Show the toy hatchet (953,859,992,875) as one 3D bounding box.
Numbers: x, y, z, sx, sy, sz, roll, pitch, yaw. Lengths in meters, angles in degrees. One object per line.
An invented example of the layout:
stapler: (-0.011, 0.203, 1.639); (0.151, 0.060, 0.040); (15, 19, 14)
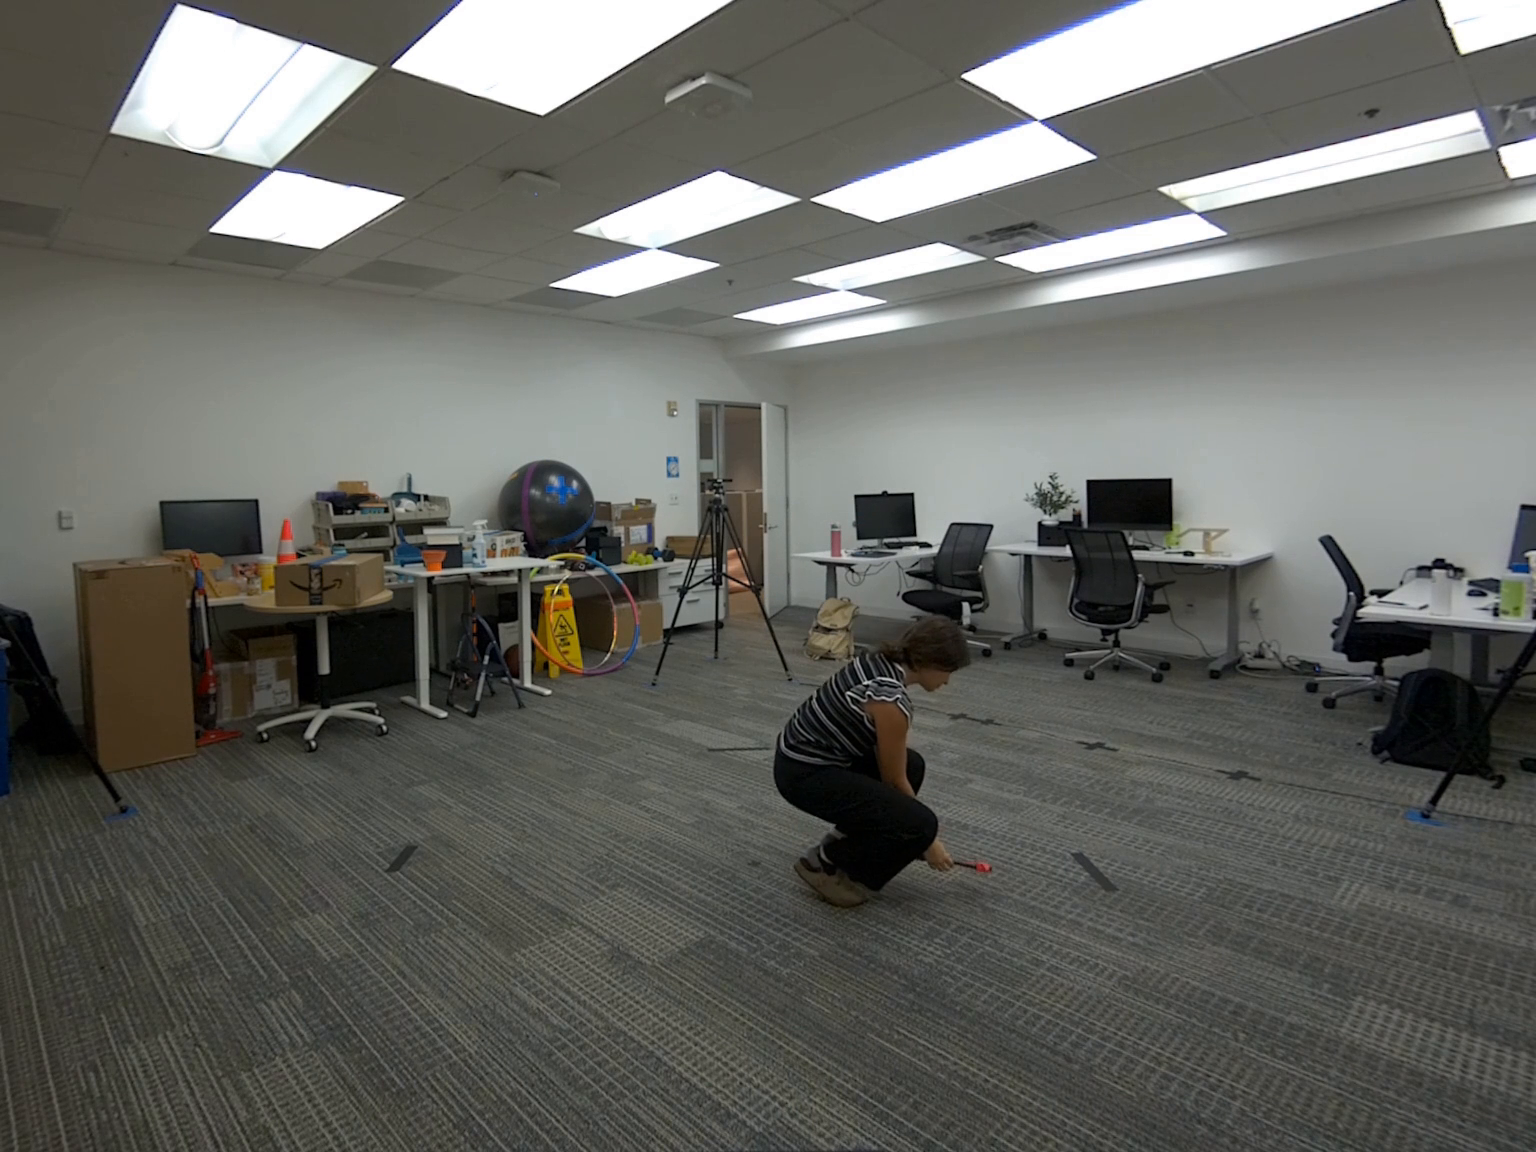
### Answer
toy hatchet: (0.621, 0.933, 2.823); (0.266, 0.030, 0.132); (22, -14, -13)
